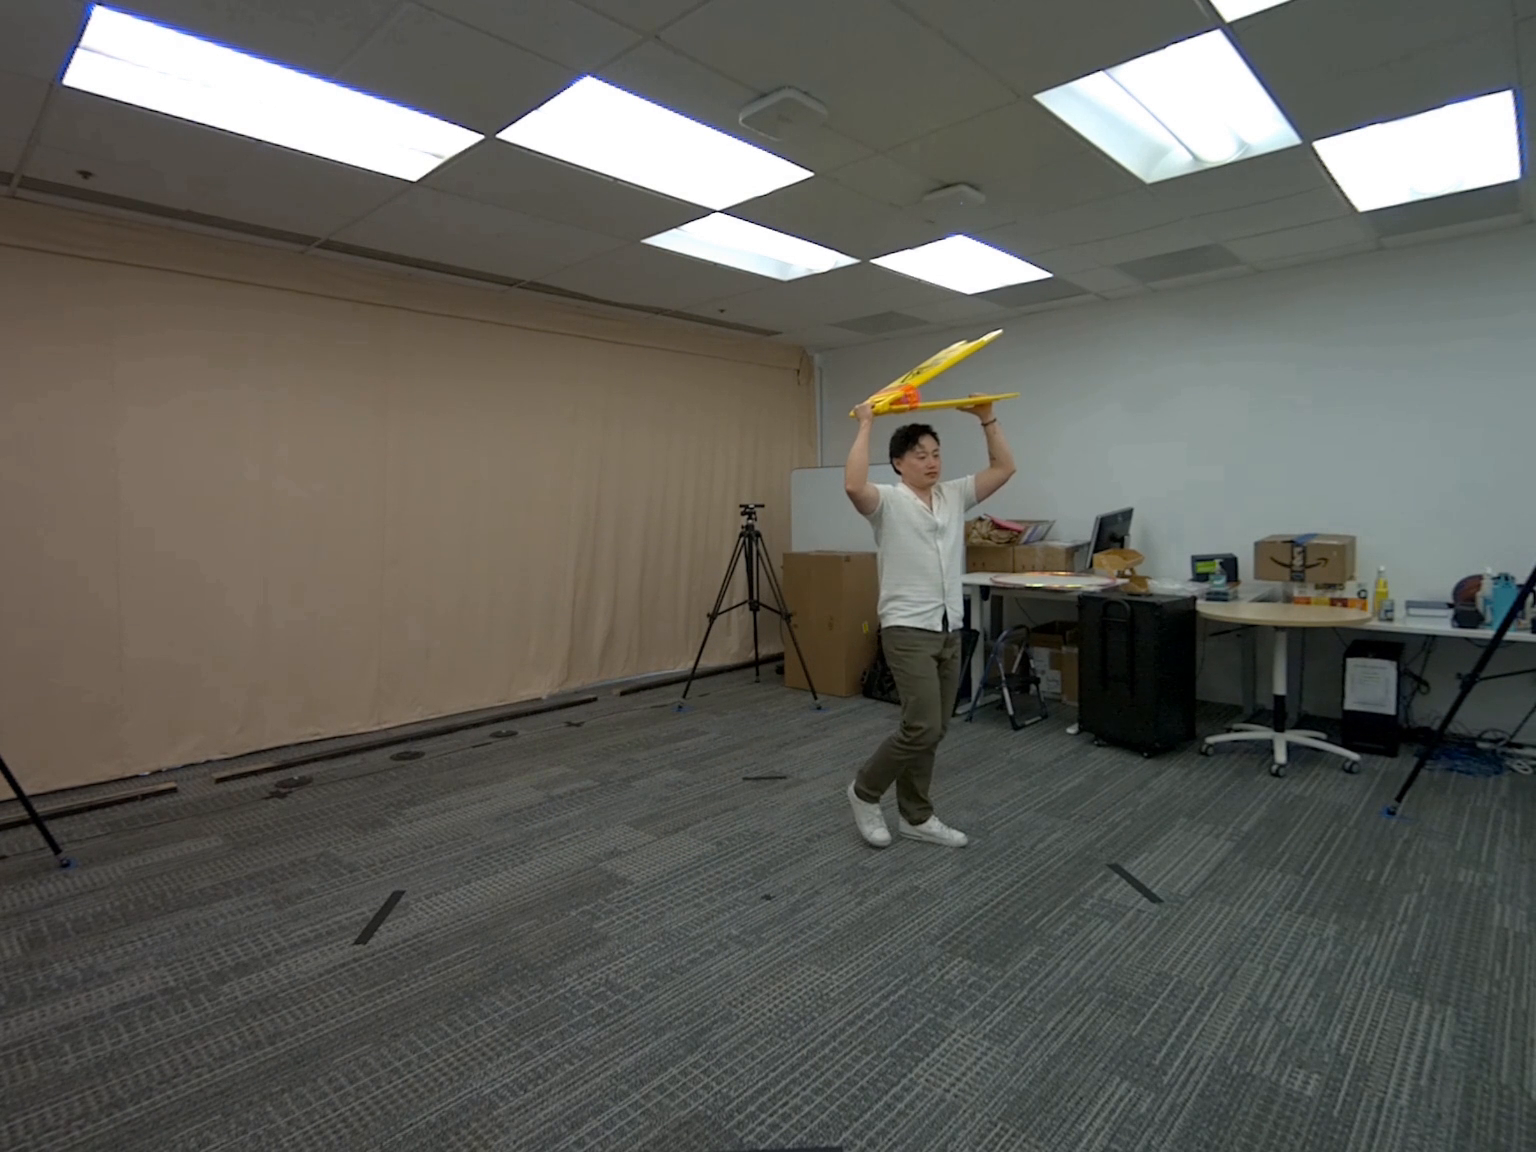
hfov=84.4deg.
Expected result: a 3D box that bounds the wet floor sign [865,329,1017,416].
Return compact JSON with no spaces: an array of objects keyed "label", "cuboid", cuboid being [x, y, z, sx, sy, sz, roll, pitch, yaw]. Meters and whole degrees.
[{"label":"wet floor sign","cuboid":[0.637,-0.734,3.330,0.636,0.287,0.289,-22,11,-22]}]
